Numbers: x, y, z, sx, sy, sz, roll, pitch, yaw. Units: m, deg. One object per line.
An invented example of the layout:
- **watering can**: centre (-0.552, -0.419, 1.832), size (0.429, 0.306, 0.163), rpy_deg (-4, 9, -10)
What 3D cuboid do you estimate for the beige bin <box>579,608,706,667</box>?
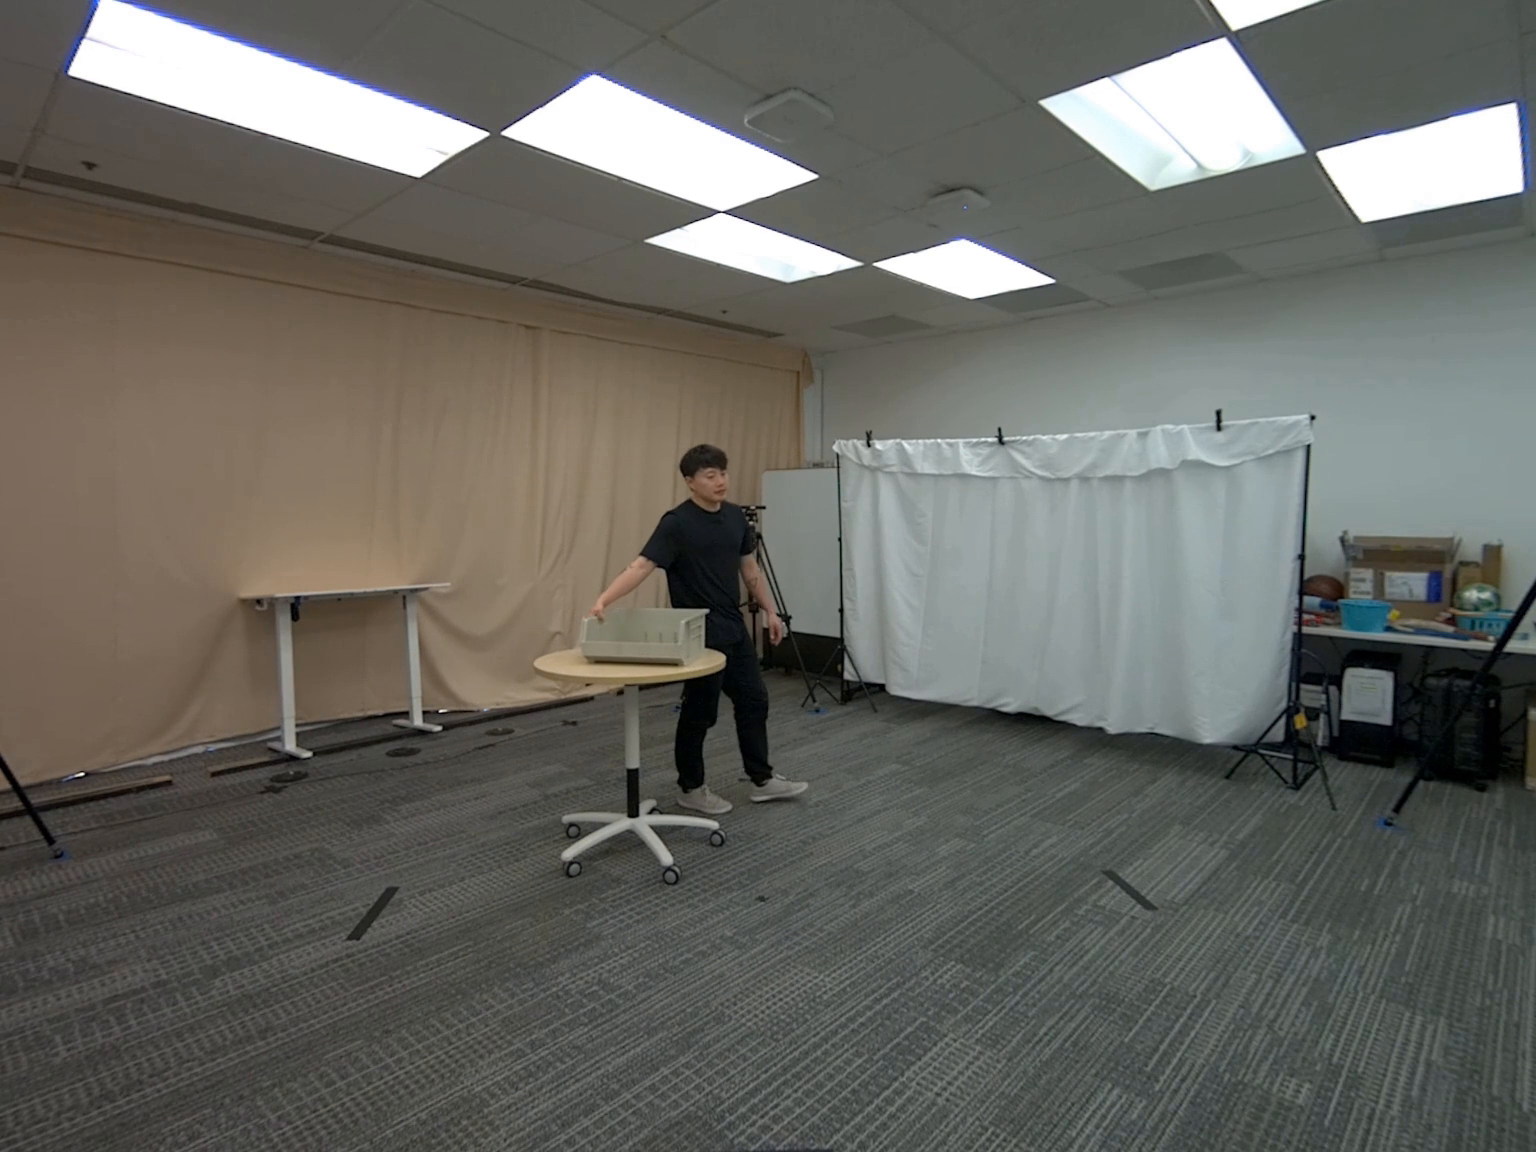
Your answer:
- **beige bin**: centre (-0.486, 0.245, 3.386), size (0.428, 0.188, 0.373), rpy_deg (0, 4, 13)
